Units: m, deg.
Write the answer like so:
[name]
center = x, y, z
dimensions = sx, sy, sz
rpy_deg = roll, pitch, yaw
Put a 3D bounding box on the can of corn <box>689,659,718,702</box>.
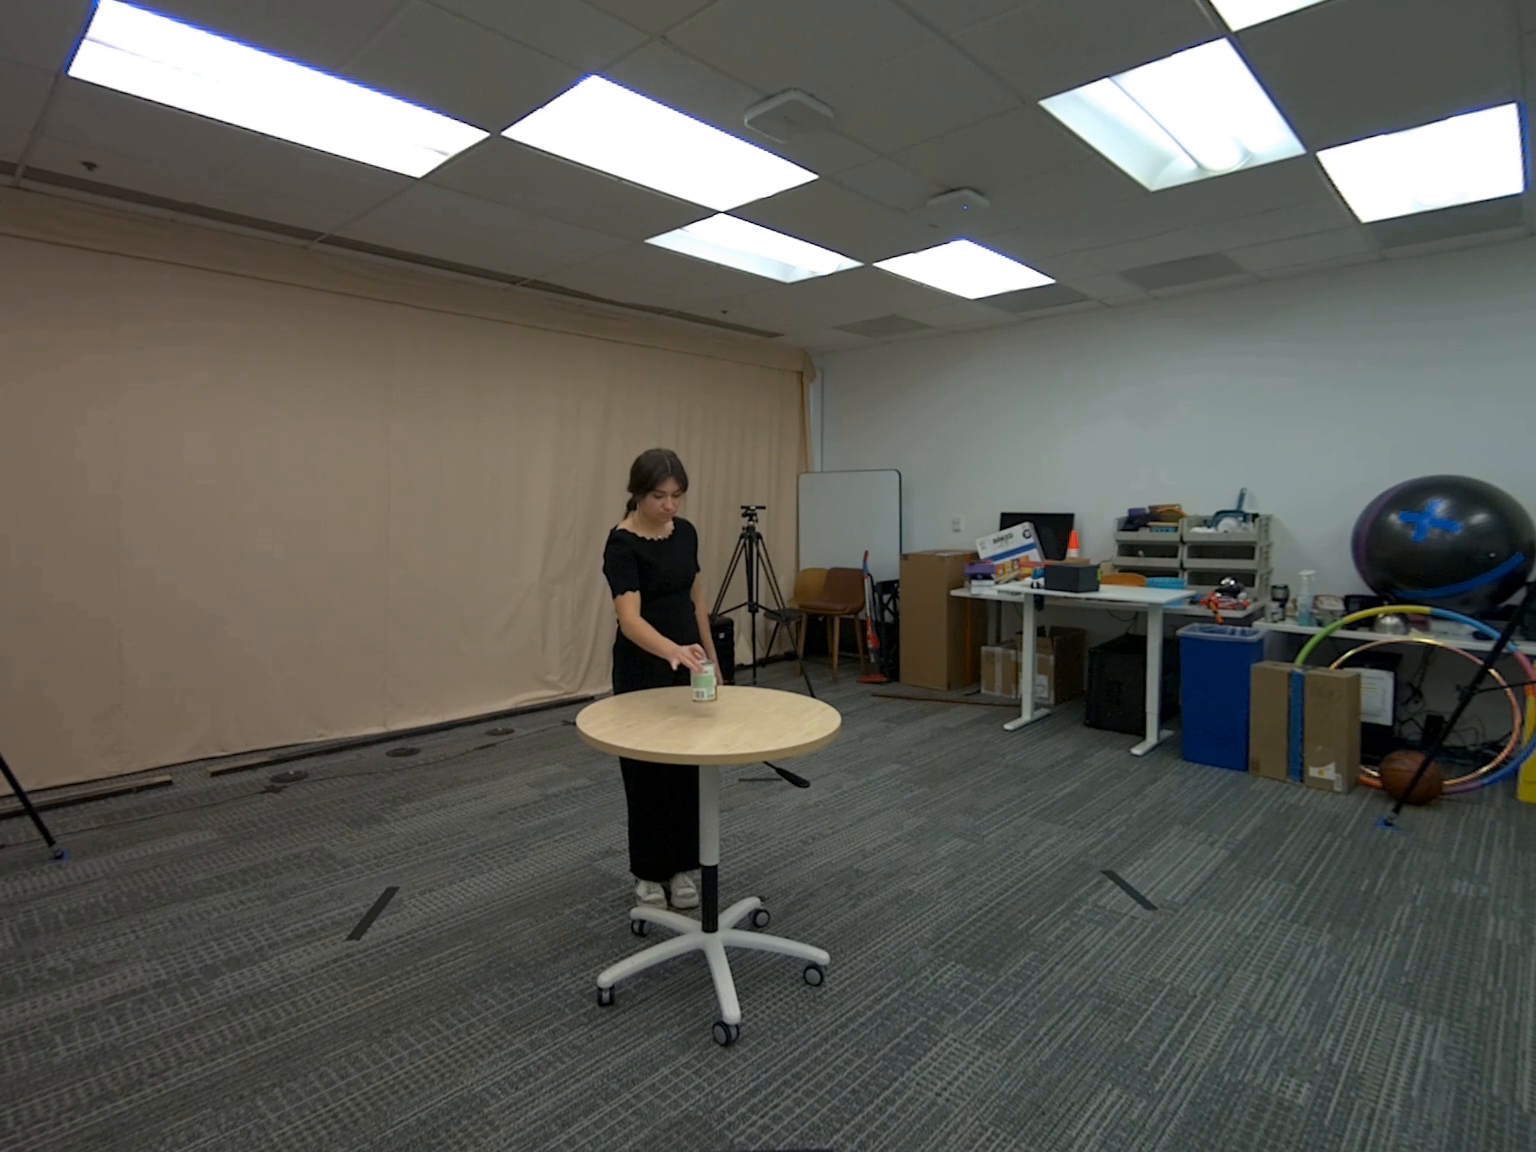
[can of corn]
center = -0.189, 0.309, 2.431
dimensions = 0.074, 0.111, 0.074
rpy_deg = -3, 1, -2
